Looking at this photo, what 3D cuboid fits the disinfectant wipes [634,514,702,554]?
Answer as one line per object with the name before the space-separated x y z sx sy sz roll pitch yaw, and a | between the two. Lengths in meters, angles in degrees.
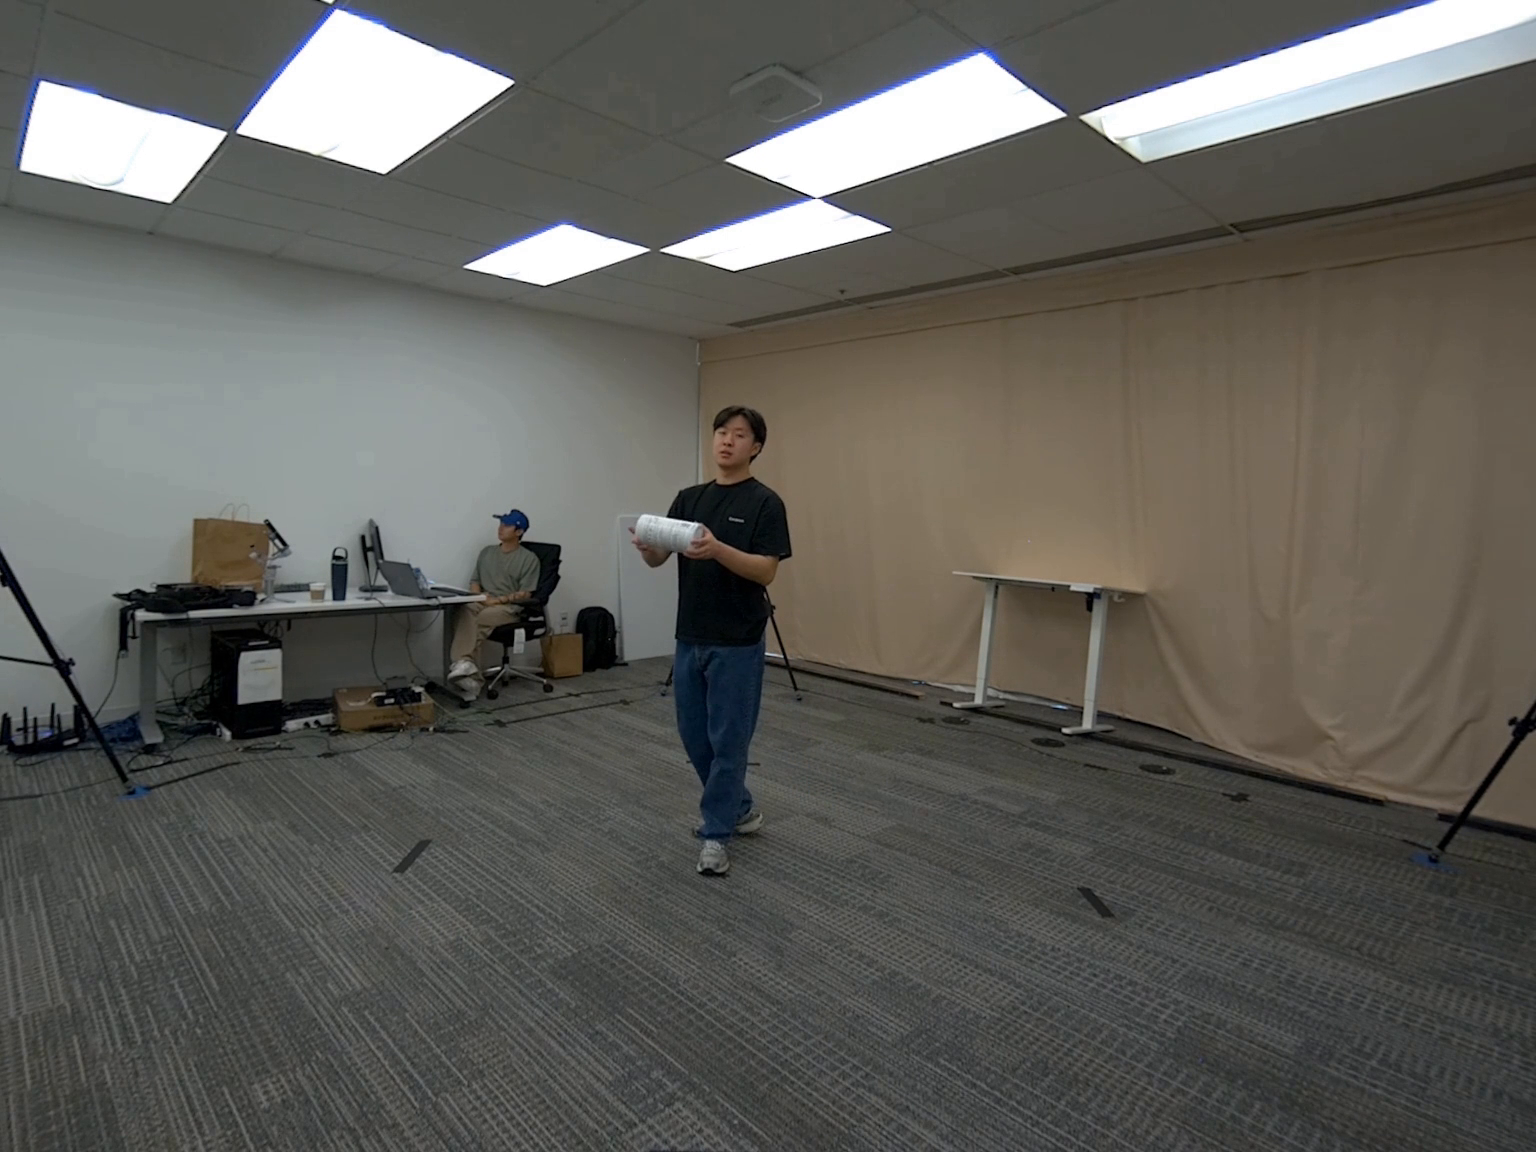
disinfectant wipes | -0.351 -0.150 2.903 0.220 0.117 0.117 11 6 12
